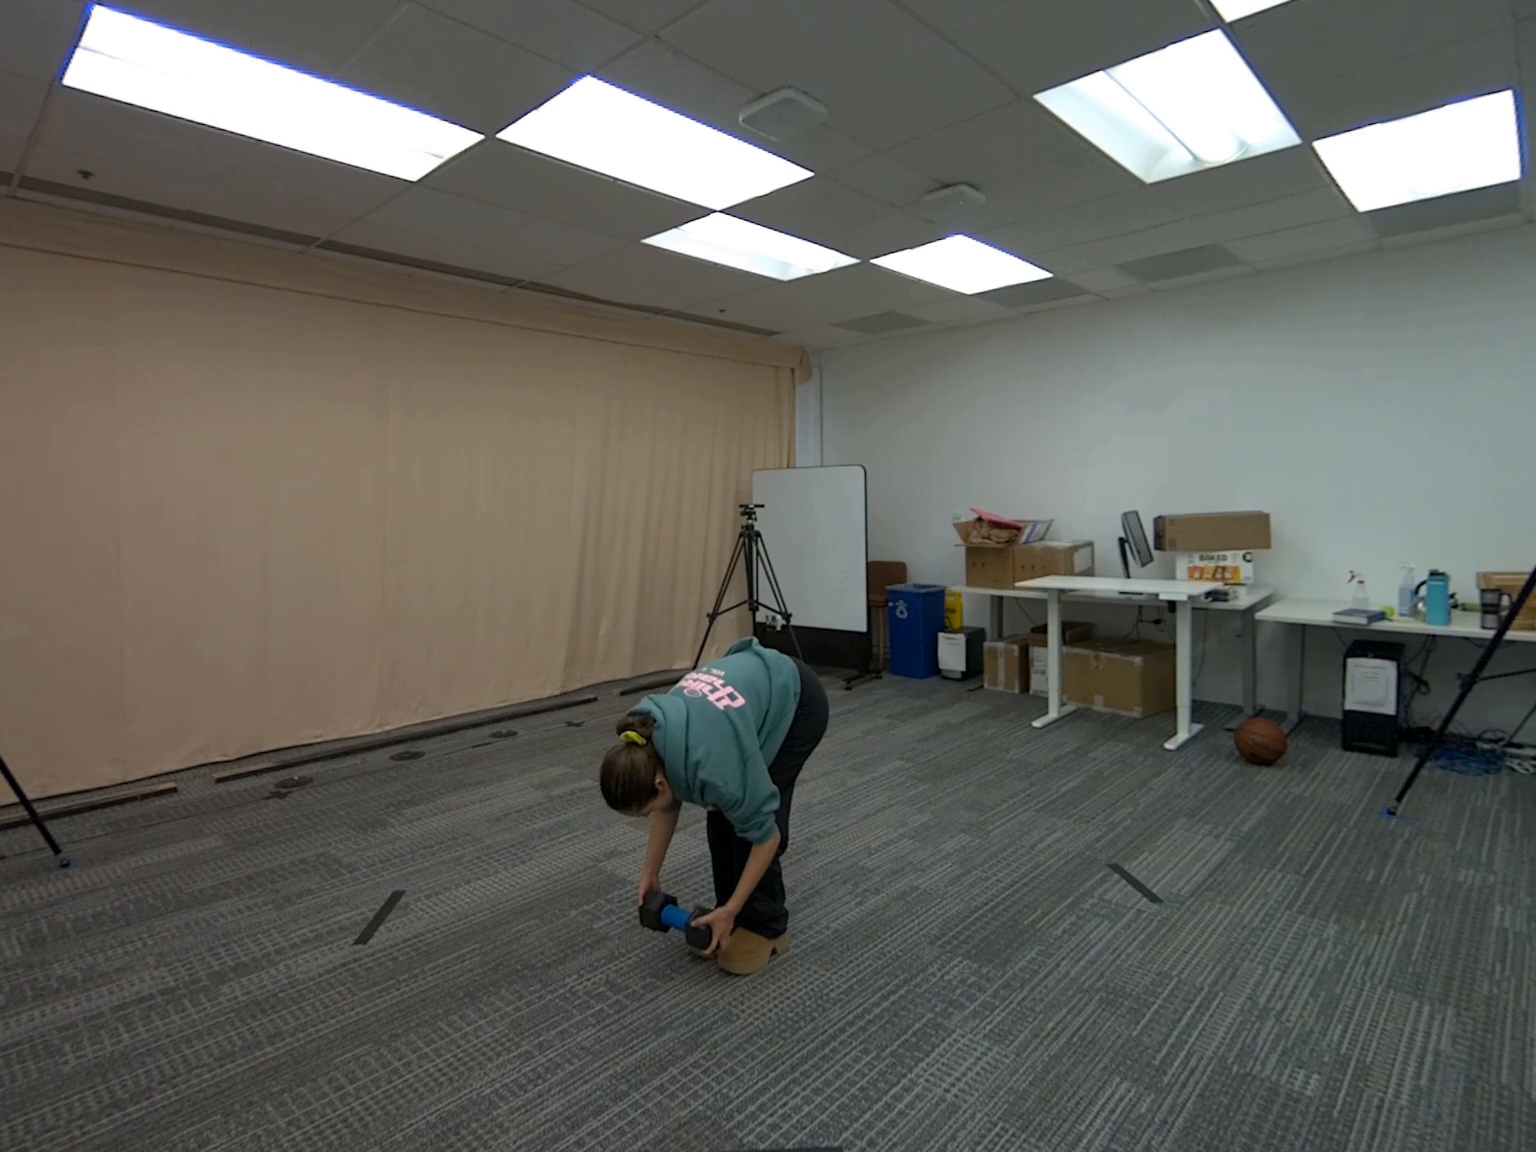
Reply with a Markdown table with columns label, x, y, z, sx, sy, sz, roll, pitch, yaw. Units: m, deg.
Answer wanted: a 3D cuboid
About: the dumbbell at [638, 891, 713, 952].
| label | x | y | z | sx | sy | sz | roll | pitch | yaw |
| --- | --- | --- | --- | --- | --- | --- | --- | --- | --- |
| dumbbell | -0.252 | 1.029 | 2.502 | 0.105 | 0.123 | 0.302 | -8 | 3 | -45 |
